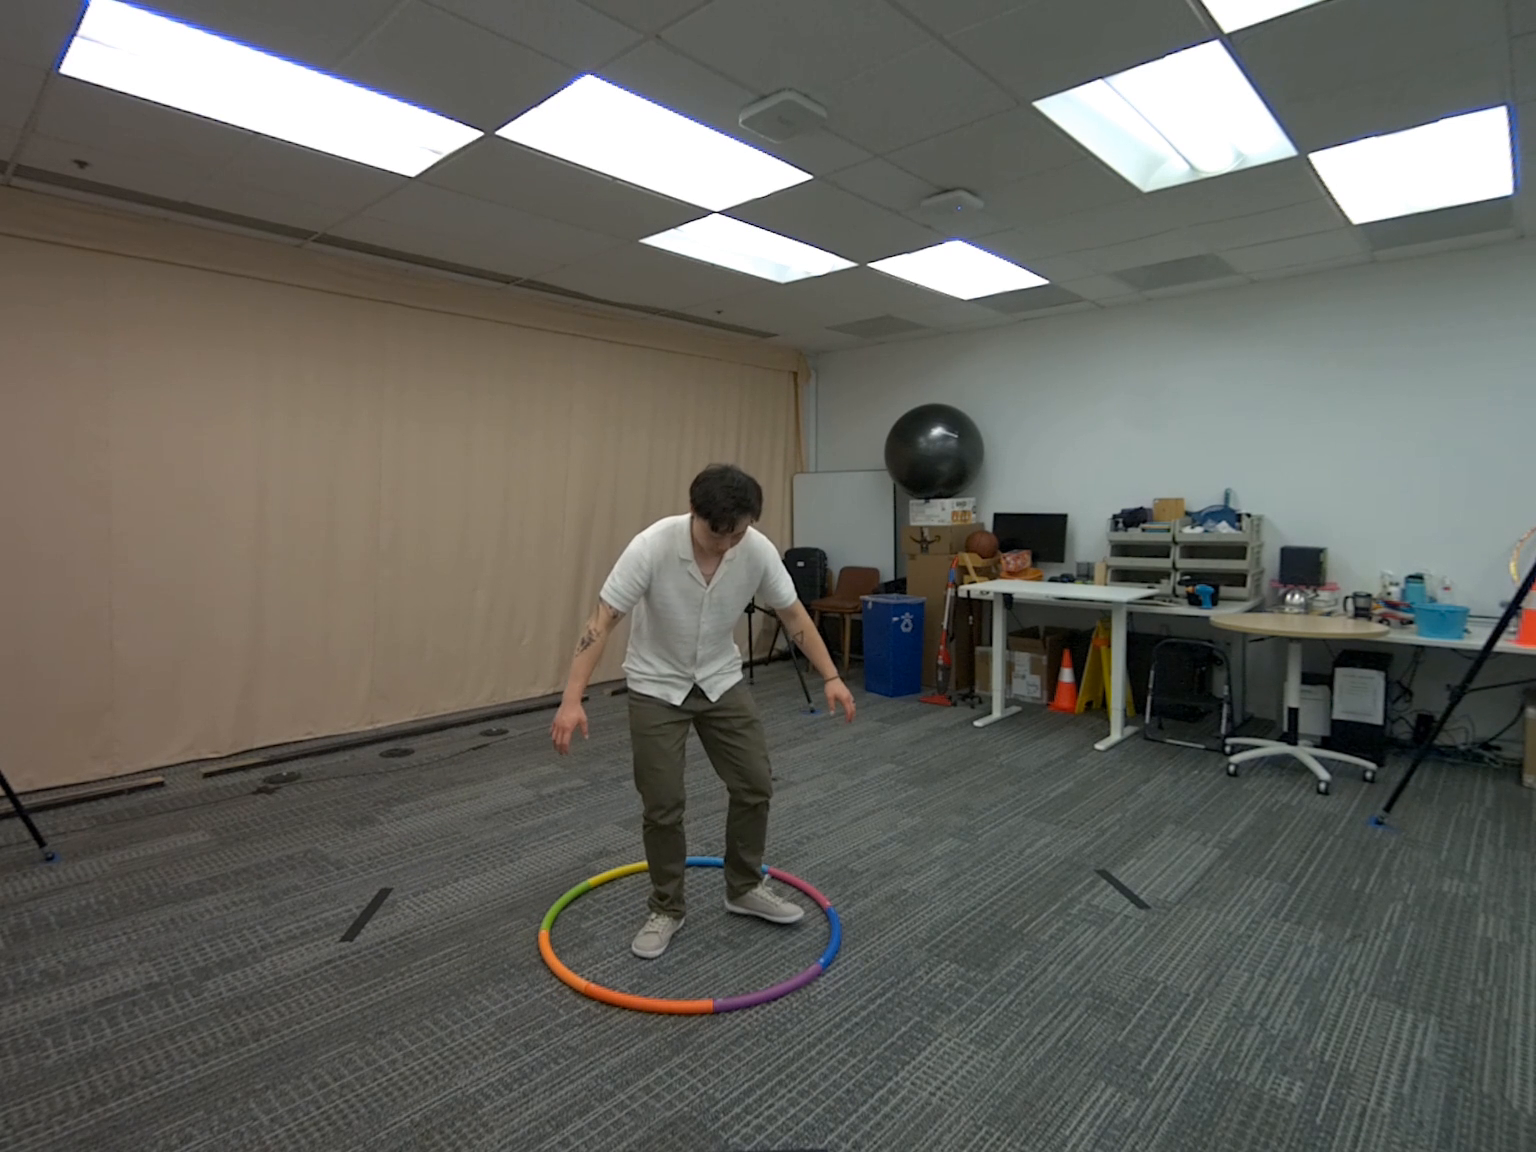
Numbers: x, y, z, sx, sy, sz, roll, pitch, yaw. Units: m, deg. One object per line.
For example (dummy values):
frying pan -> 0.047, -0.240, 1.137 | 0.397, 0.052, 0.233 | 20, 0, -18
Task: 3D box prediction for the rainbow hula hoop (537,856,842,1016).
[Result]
rainbow hula hoop -> -0.252, 1.134, 2.783 | 0.978, 0.035, 0.982 | -1, 5, -2
